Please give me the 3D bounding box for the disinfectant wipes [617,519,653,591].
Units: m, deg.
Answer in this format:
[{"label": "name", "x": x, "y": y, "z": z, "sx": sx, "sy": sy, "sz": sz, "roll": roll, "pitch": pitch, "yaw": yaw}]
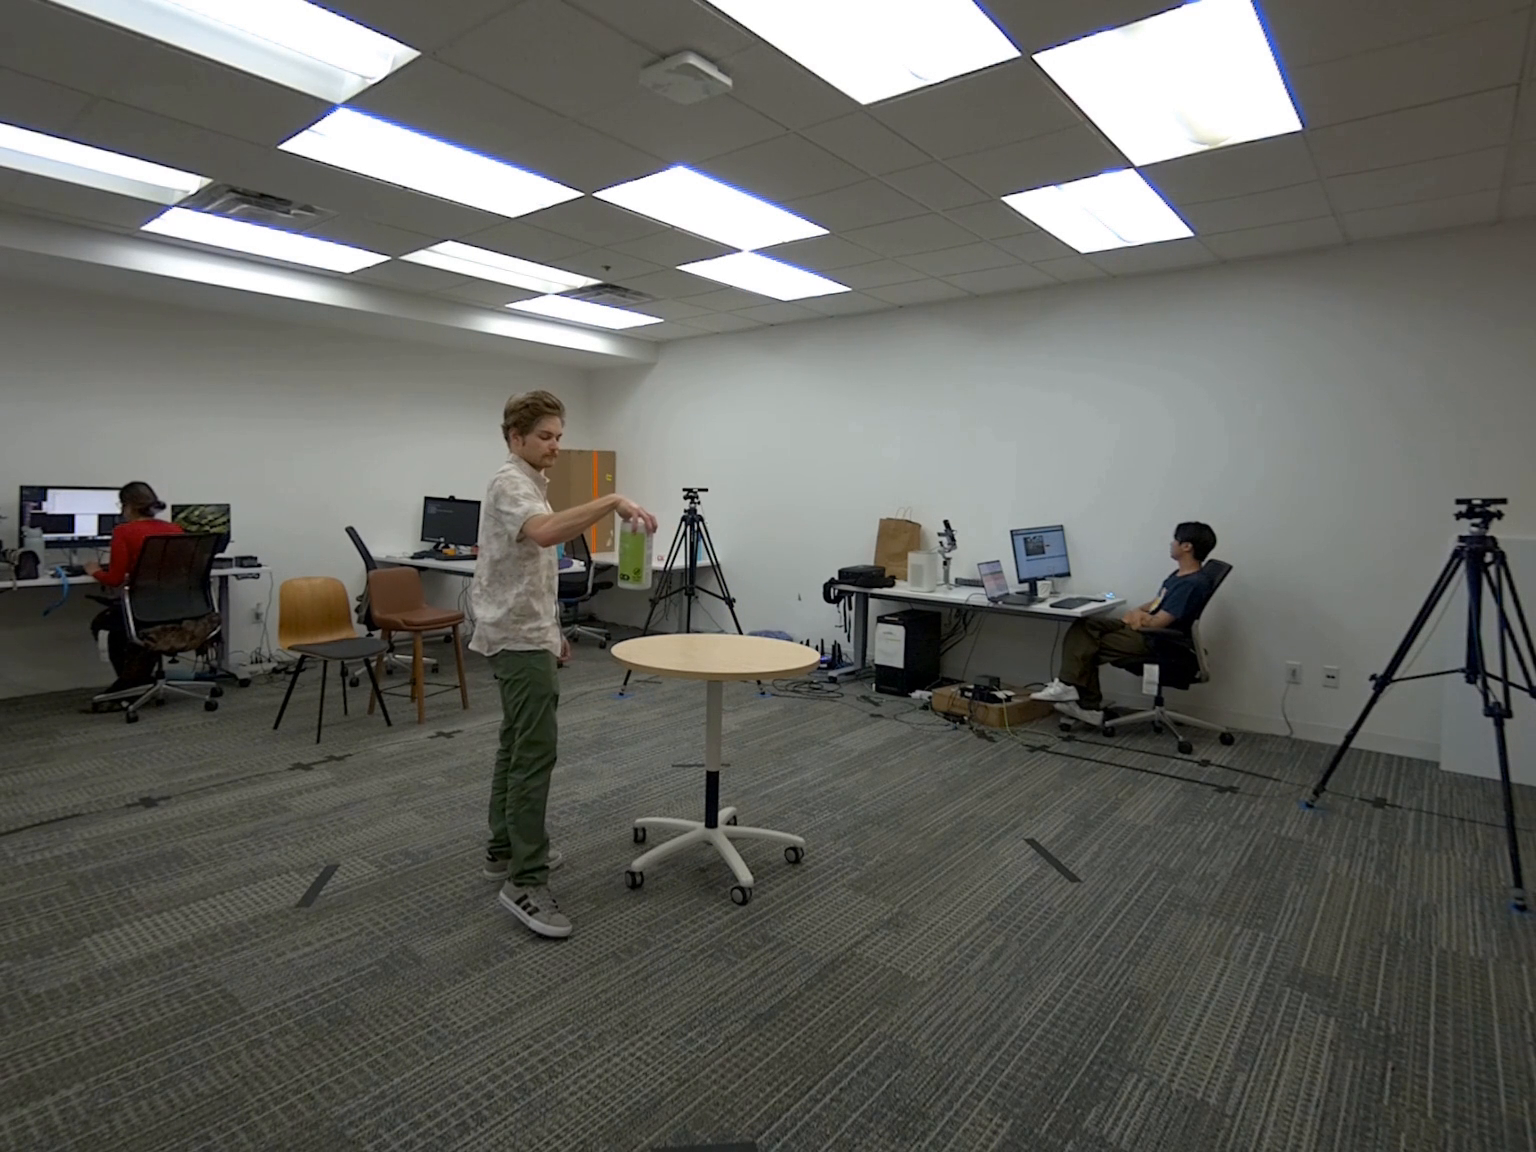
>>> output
[{"label": "disinfectant wipes", "x": -0.443, "y": -0.068, "z": 2.759, "sx": 0.117, "sy": 0.216, "sz": 0.119, "roll": 4, "pitch": 7, "yaw": -2}]
